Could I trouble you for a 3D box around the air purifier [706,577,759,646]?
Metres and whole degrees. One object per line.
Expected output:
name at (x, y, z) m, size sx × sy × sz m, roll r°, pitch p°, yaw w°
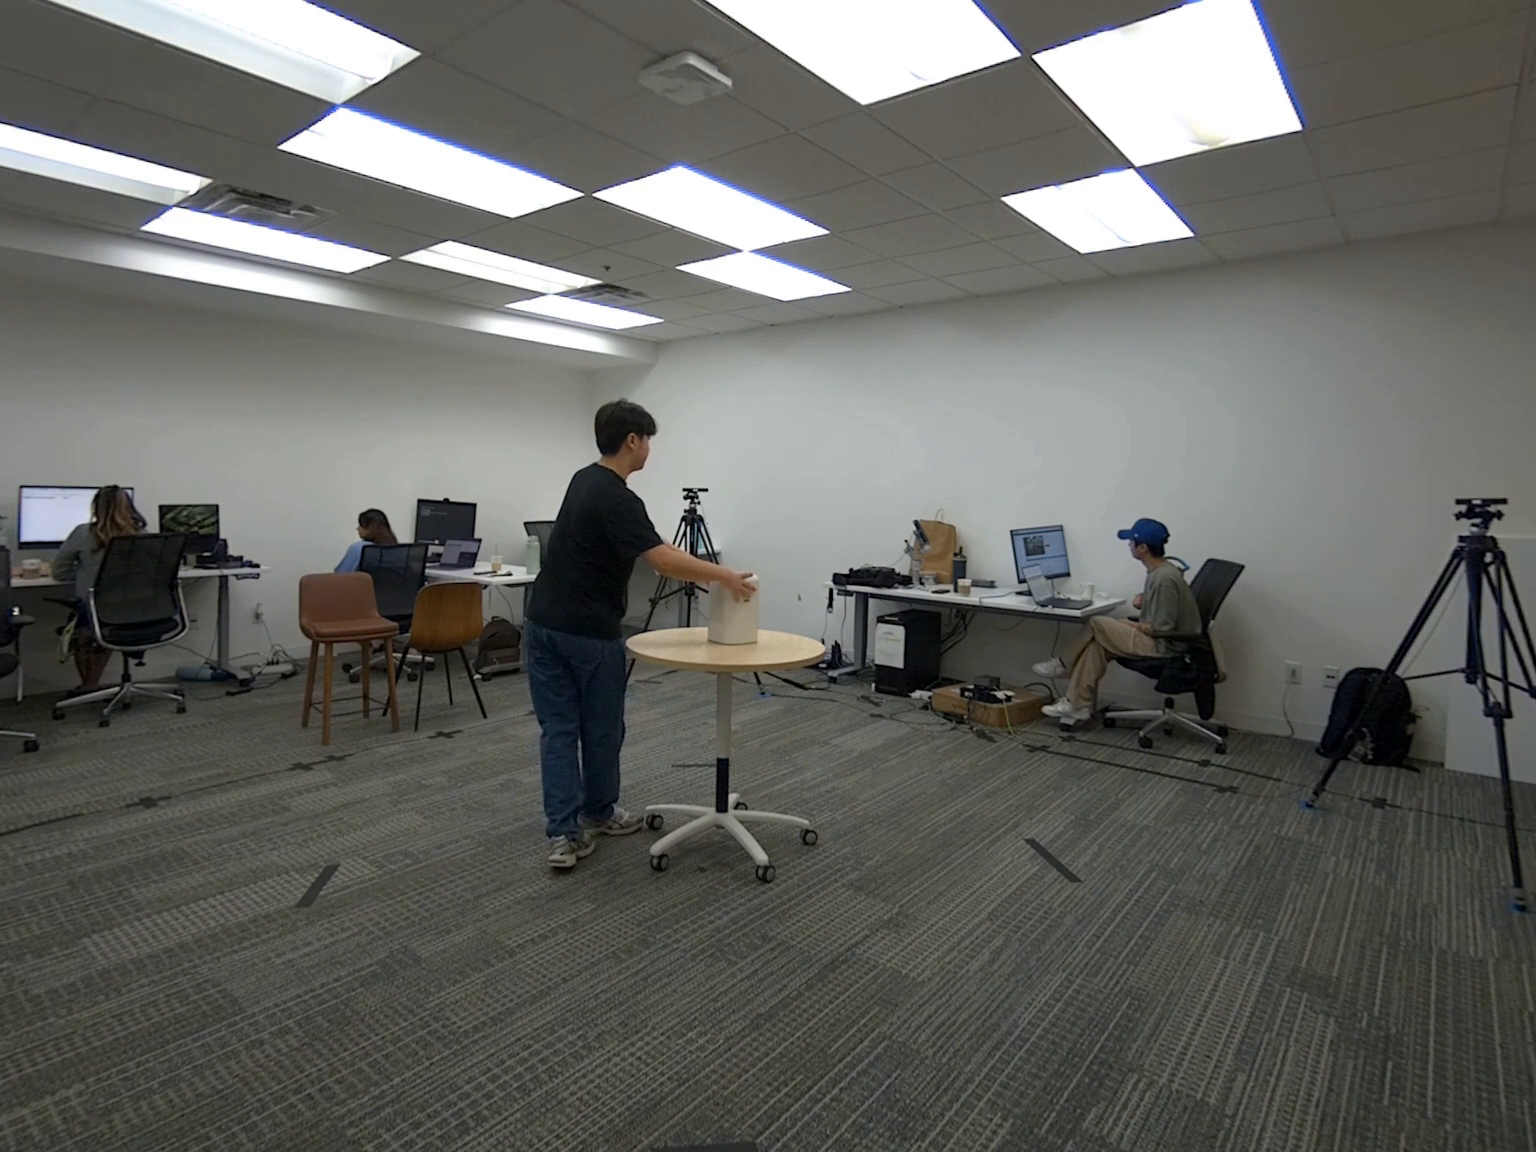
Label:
air purifier at (-0.147, 0.124, 3.339) m, size 0.166 × 0.264 × 0.177 m, roll -1°, pitch 4°, yaw -37°
